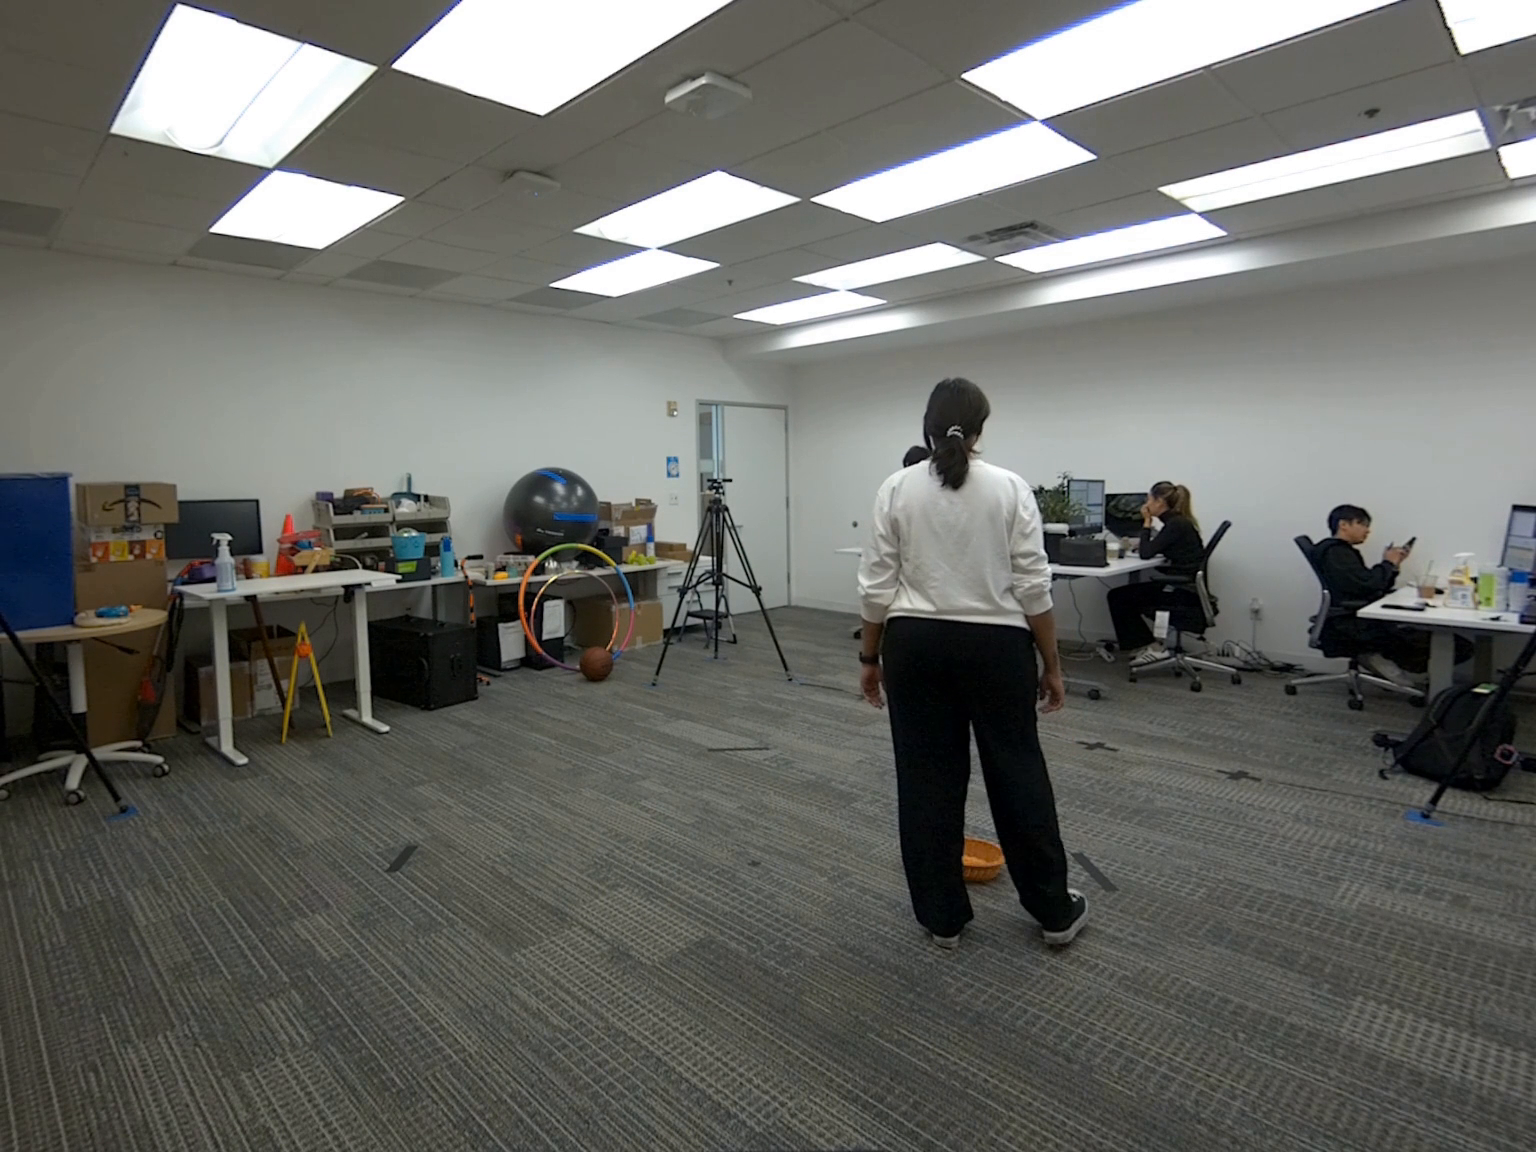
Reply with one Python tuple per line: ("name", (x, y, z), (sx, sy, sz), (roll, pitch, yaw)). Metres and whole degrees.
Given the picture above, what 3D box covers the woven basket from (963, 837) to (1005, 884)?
("woven basket", (0.667, 1.003, 3.040), (0.356, 0.073, 0.249), (0, 5, 15))
